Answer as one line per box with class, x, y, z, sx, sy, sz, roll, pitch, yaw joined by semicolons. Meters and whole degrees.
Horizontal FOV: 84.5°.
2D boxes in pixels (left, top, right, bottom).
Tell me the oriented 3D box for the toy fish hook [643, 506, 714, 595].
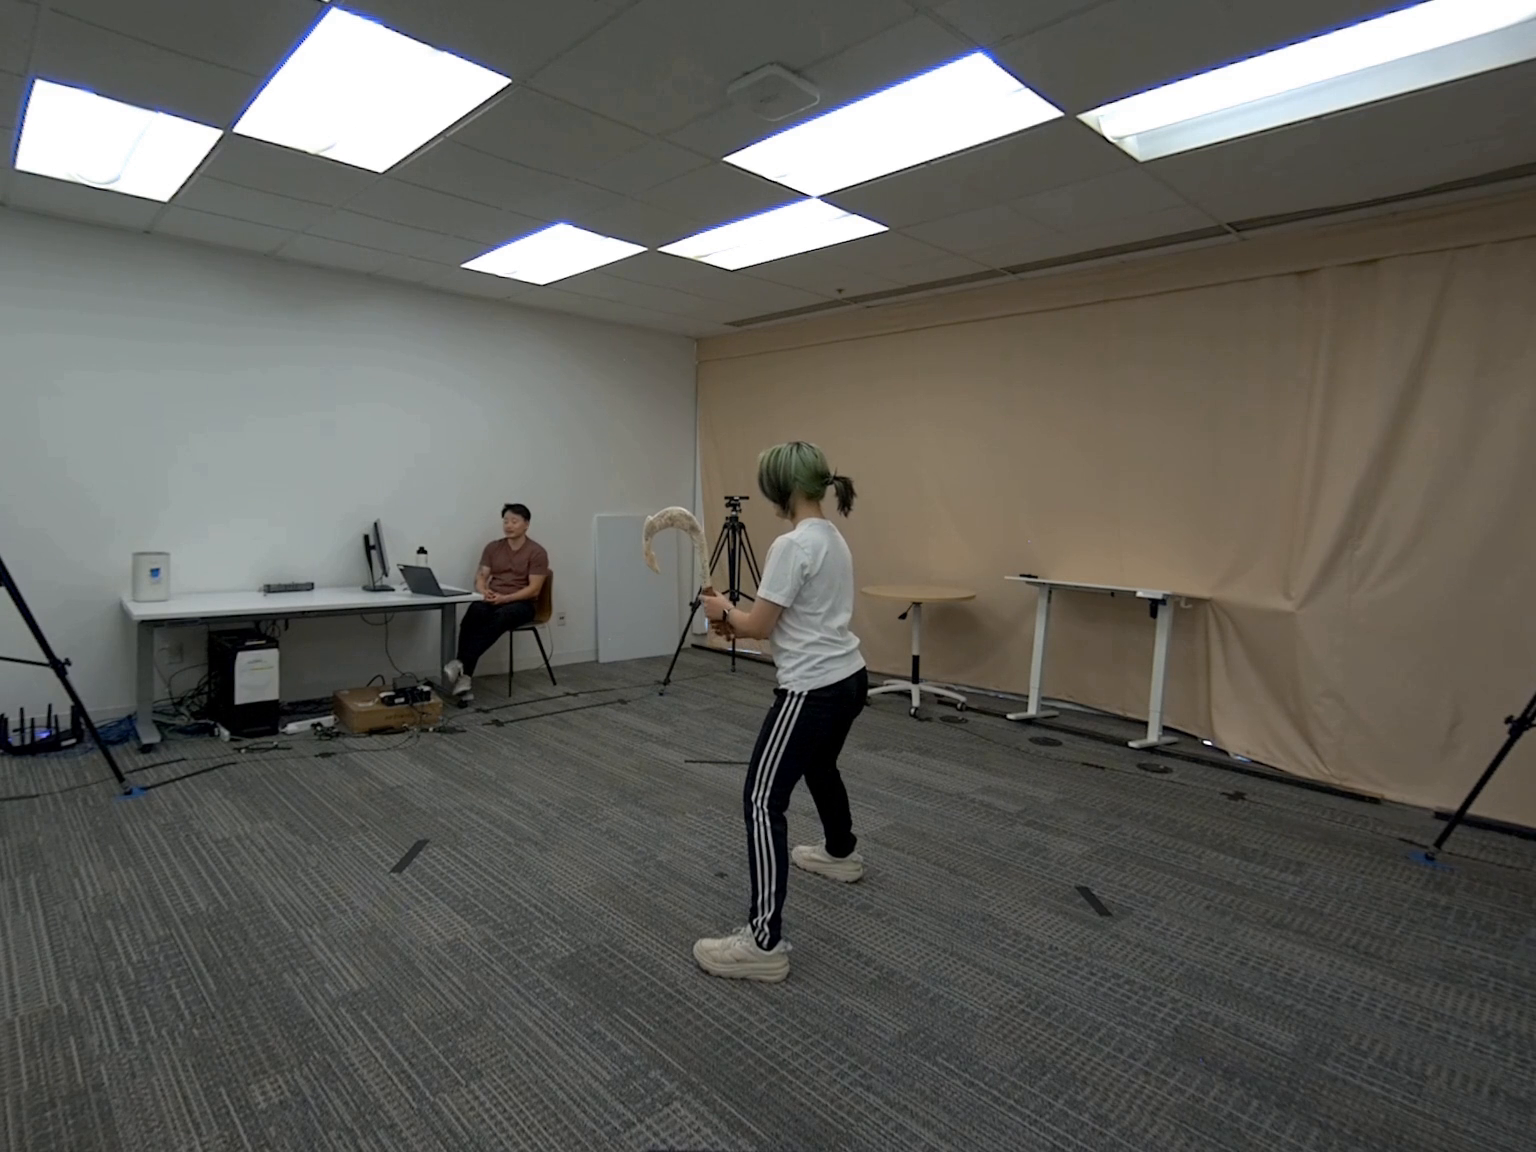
toy fish hook;-0.276;0.012;2.907;0.225;0.509;0.048;-24;-5;6
